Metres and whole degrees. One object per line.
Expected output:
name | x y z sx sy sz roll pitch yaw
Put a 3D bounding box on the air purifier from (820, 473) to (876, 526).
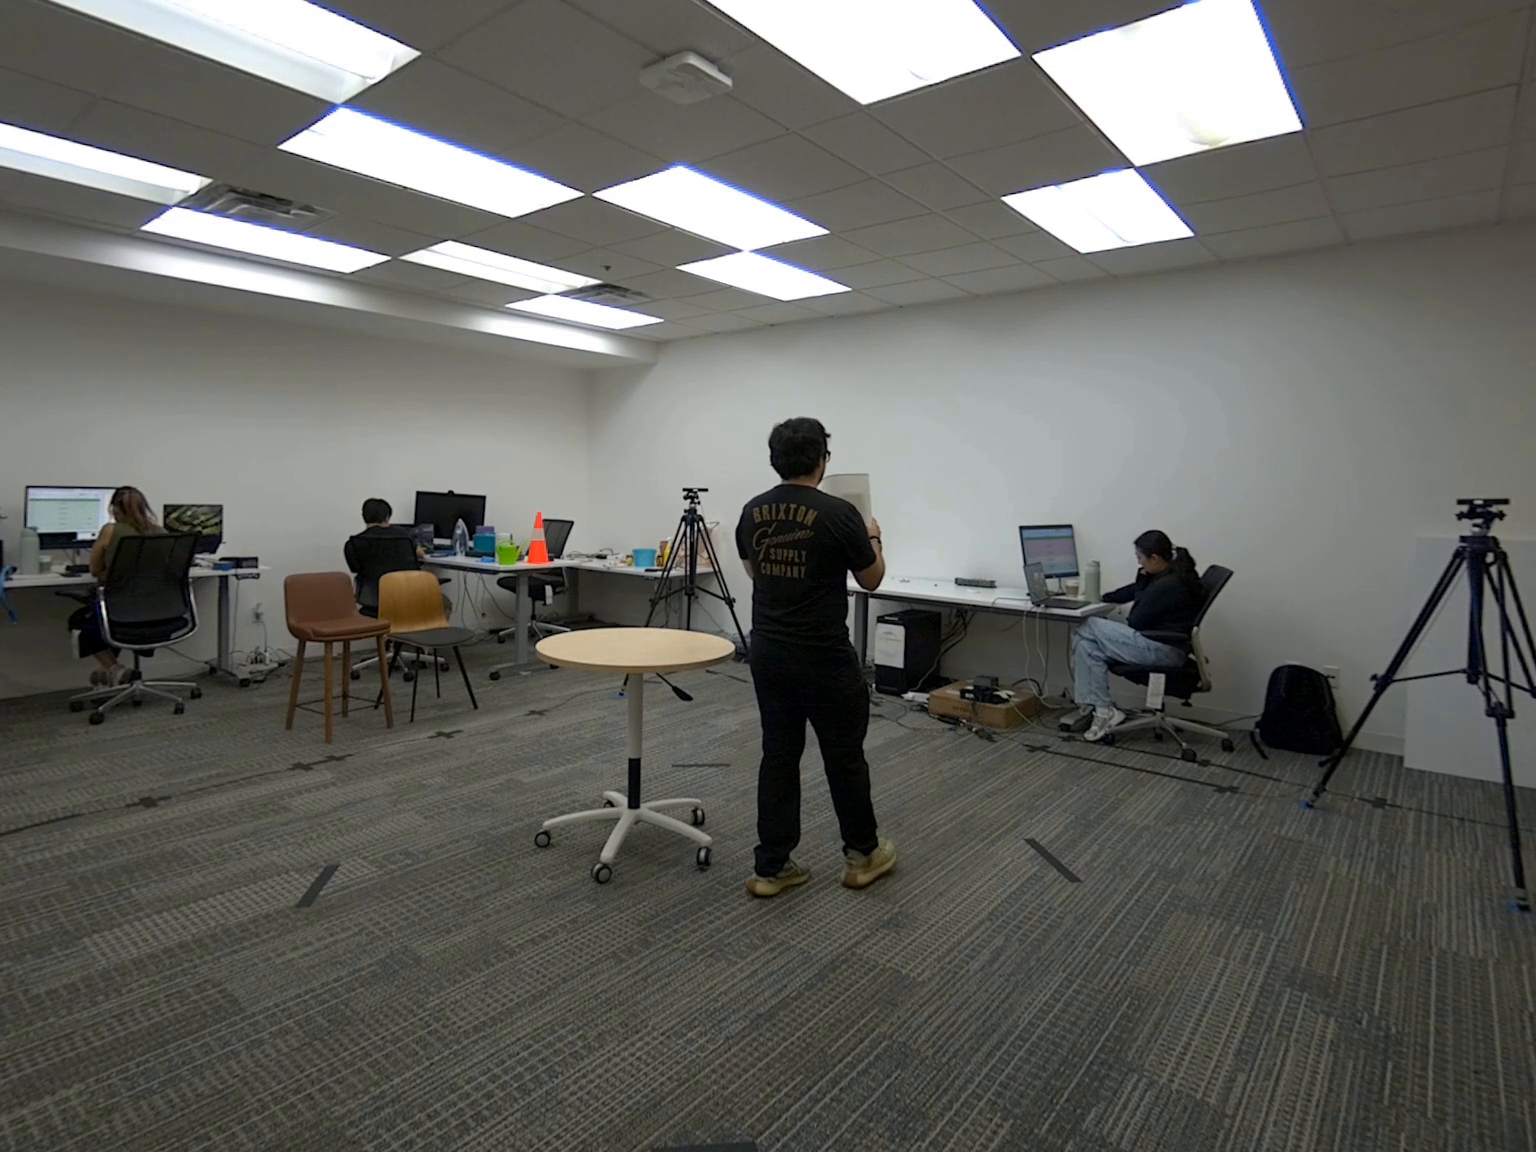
air purifier | 0.310 -0.259 3.309 0.170 0.267 0.172 2 -5 -11
